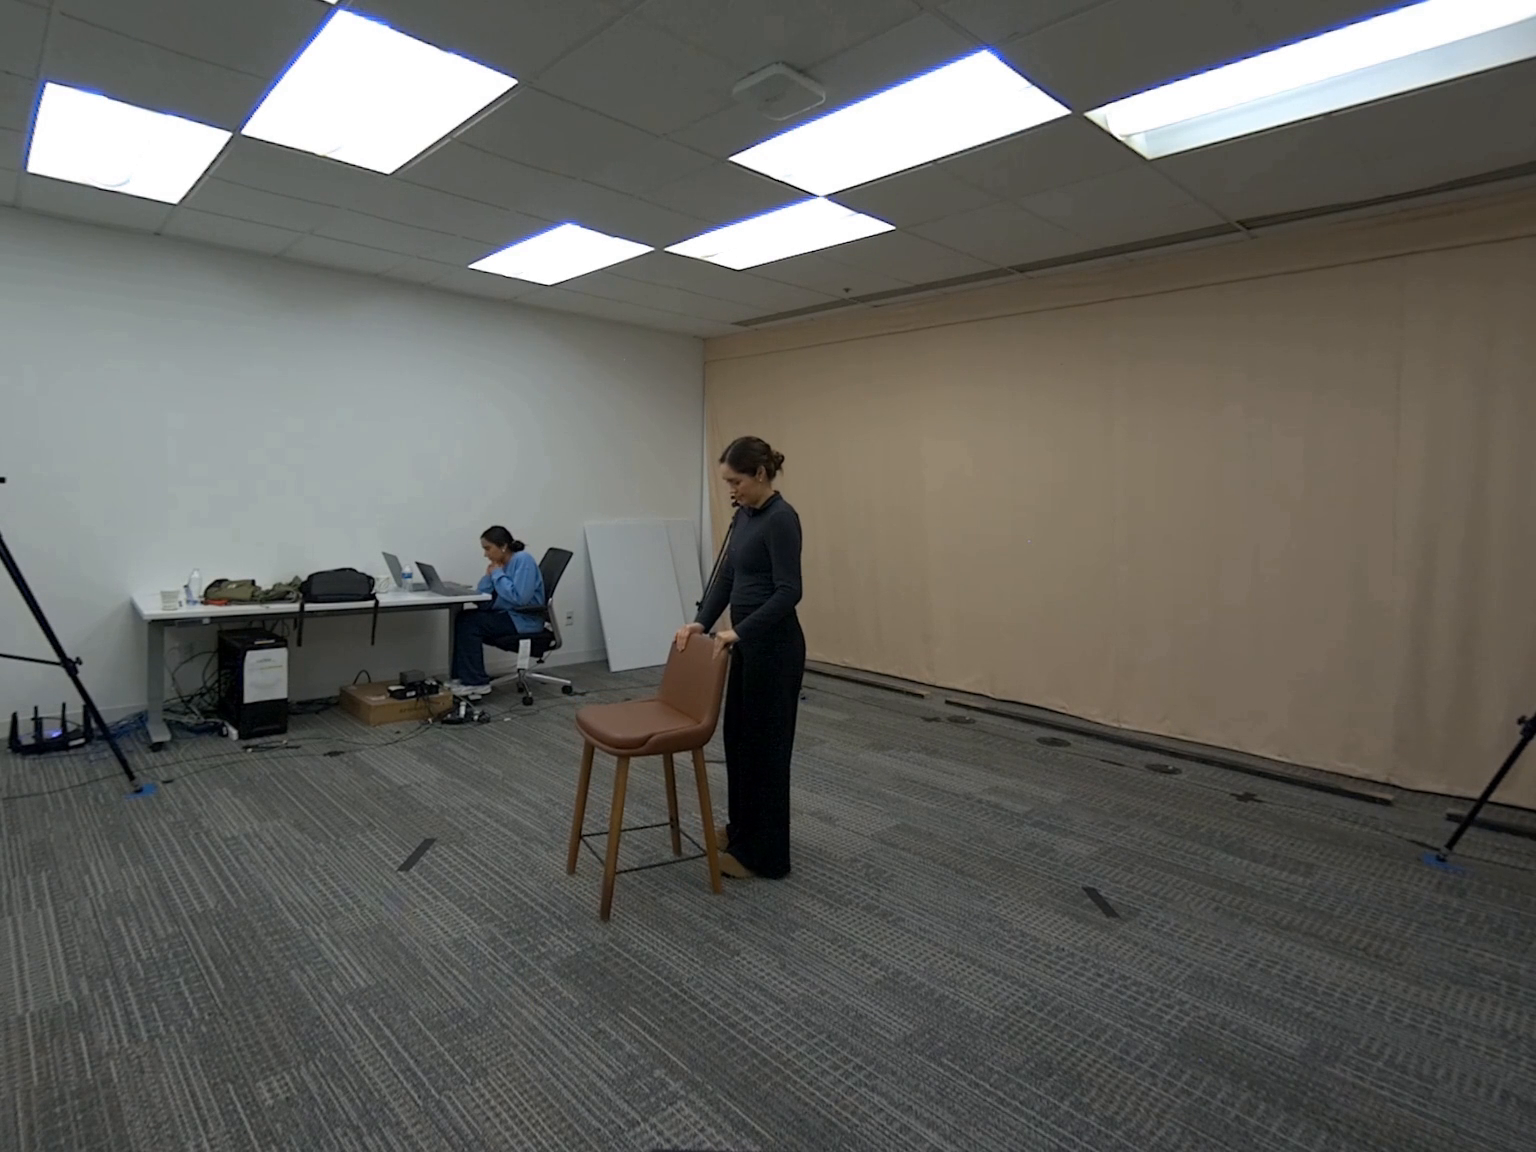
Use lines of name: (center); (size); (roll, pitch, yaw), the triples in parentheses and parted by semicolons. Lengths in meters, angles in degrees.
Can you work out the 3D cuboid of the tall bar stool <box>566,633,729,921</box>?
tall bar stool: (-0.430, 0.667, 2.986); (0.458, 0.888, 0.467); (2, 3, -29)
